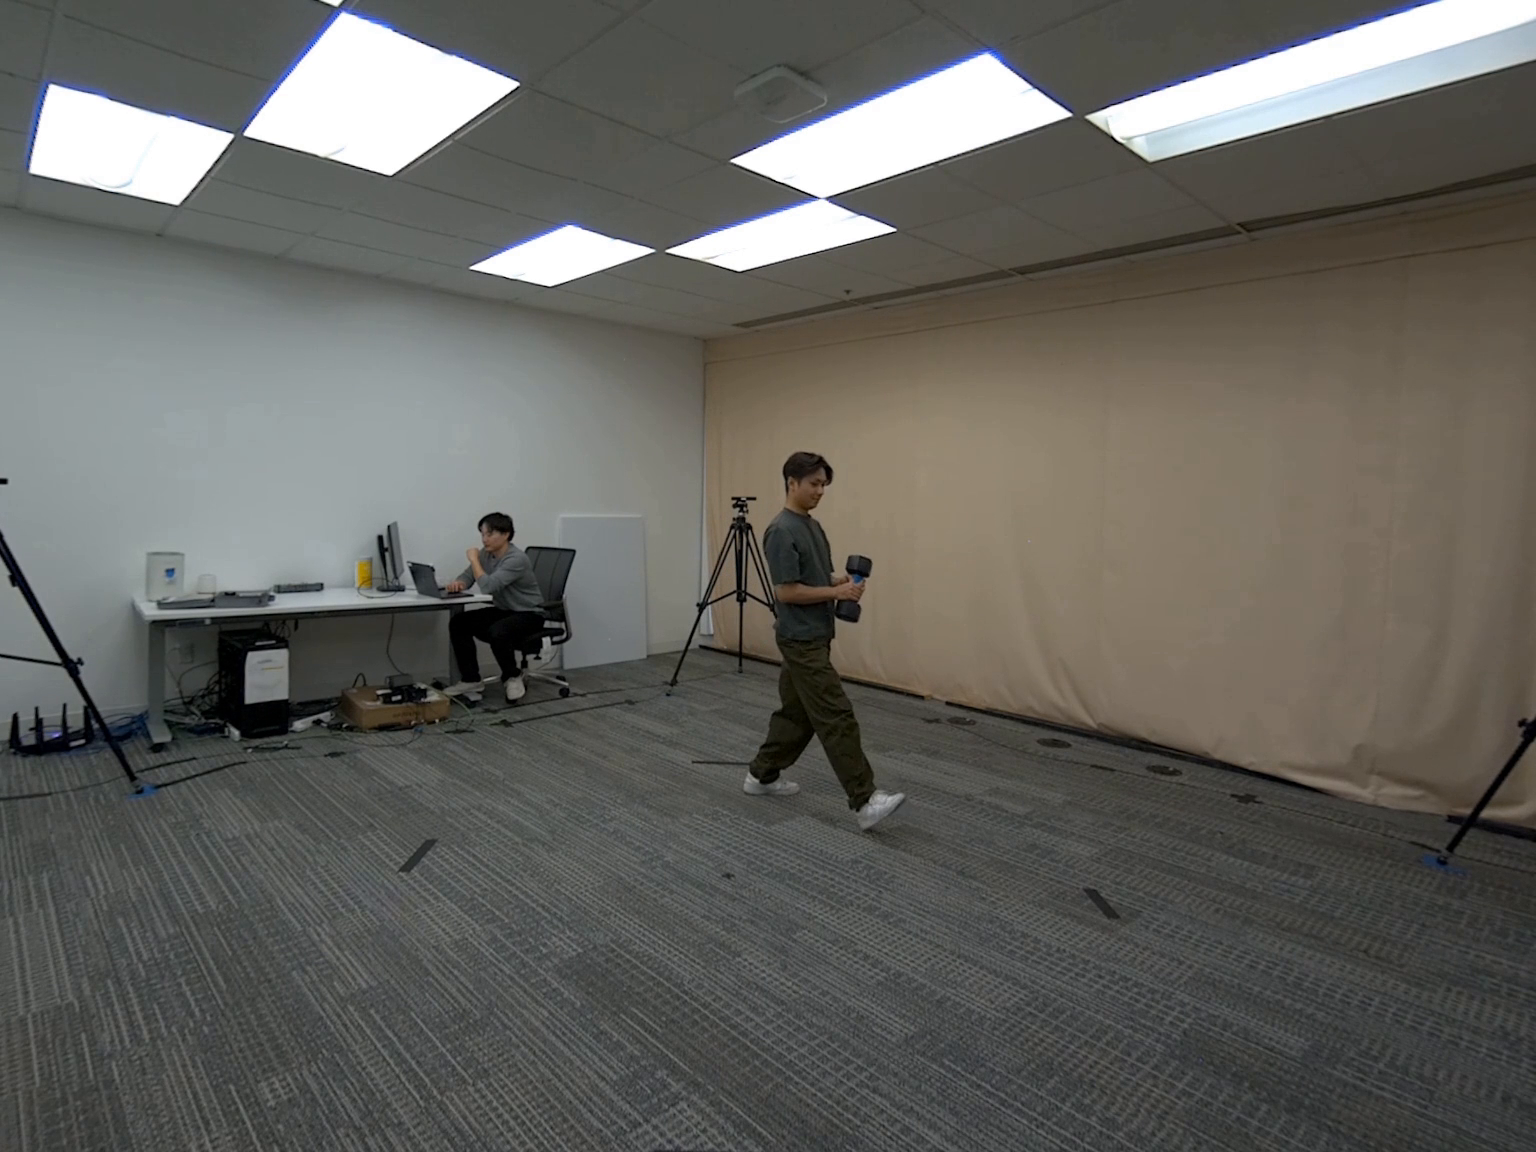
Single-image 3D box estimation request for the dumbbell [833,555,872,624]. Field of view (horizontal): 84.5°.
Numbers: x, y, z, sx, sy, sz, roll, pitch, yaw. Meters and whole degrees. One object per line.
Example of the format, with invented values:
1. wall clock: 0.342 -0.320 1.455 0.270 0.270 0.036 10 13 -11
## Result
1. dumbbell: 0.372 0.058 3.779 0.121 0.295 0.109 18 -13 -15
